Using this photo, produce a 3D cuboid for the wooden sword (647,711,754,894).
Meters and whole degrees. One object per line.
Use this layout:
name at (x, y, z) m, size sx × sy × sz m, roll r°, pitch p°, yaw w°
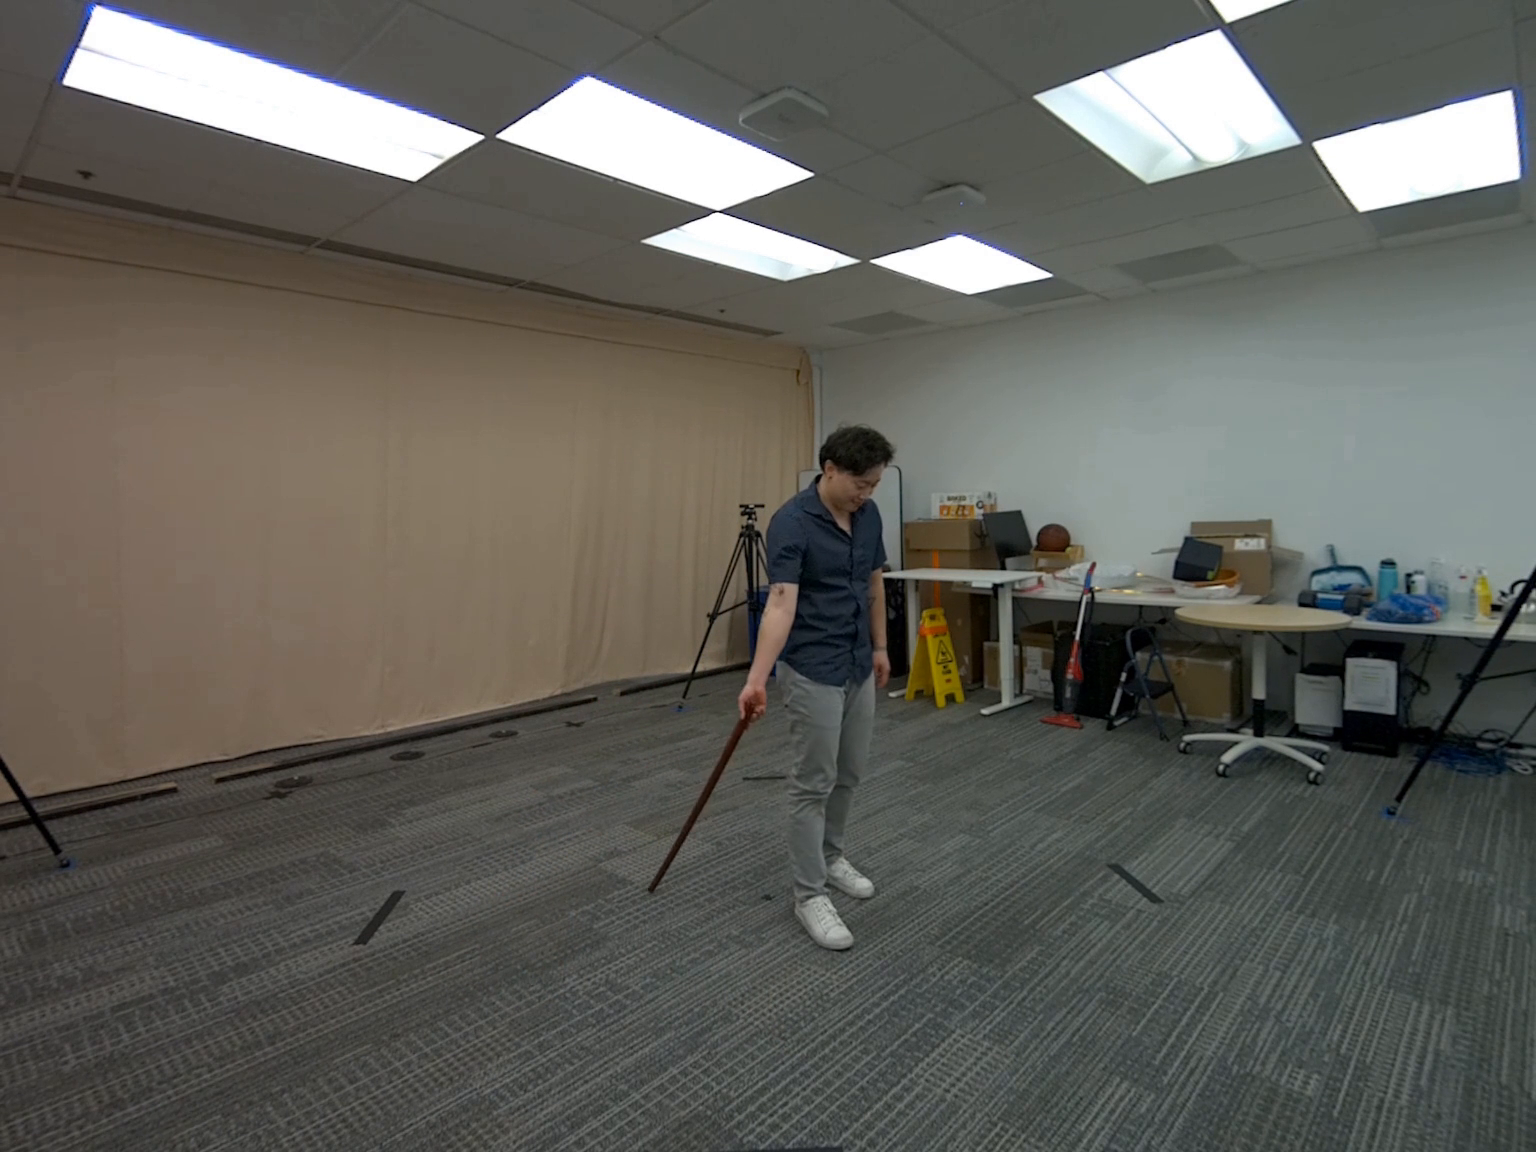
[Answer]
wooden sword at (-0.234, 0.763, 2.771) m, size 0.050 × 1.022 × 0.024 m, roll 16°, pitch 34°, yaw -17°
